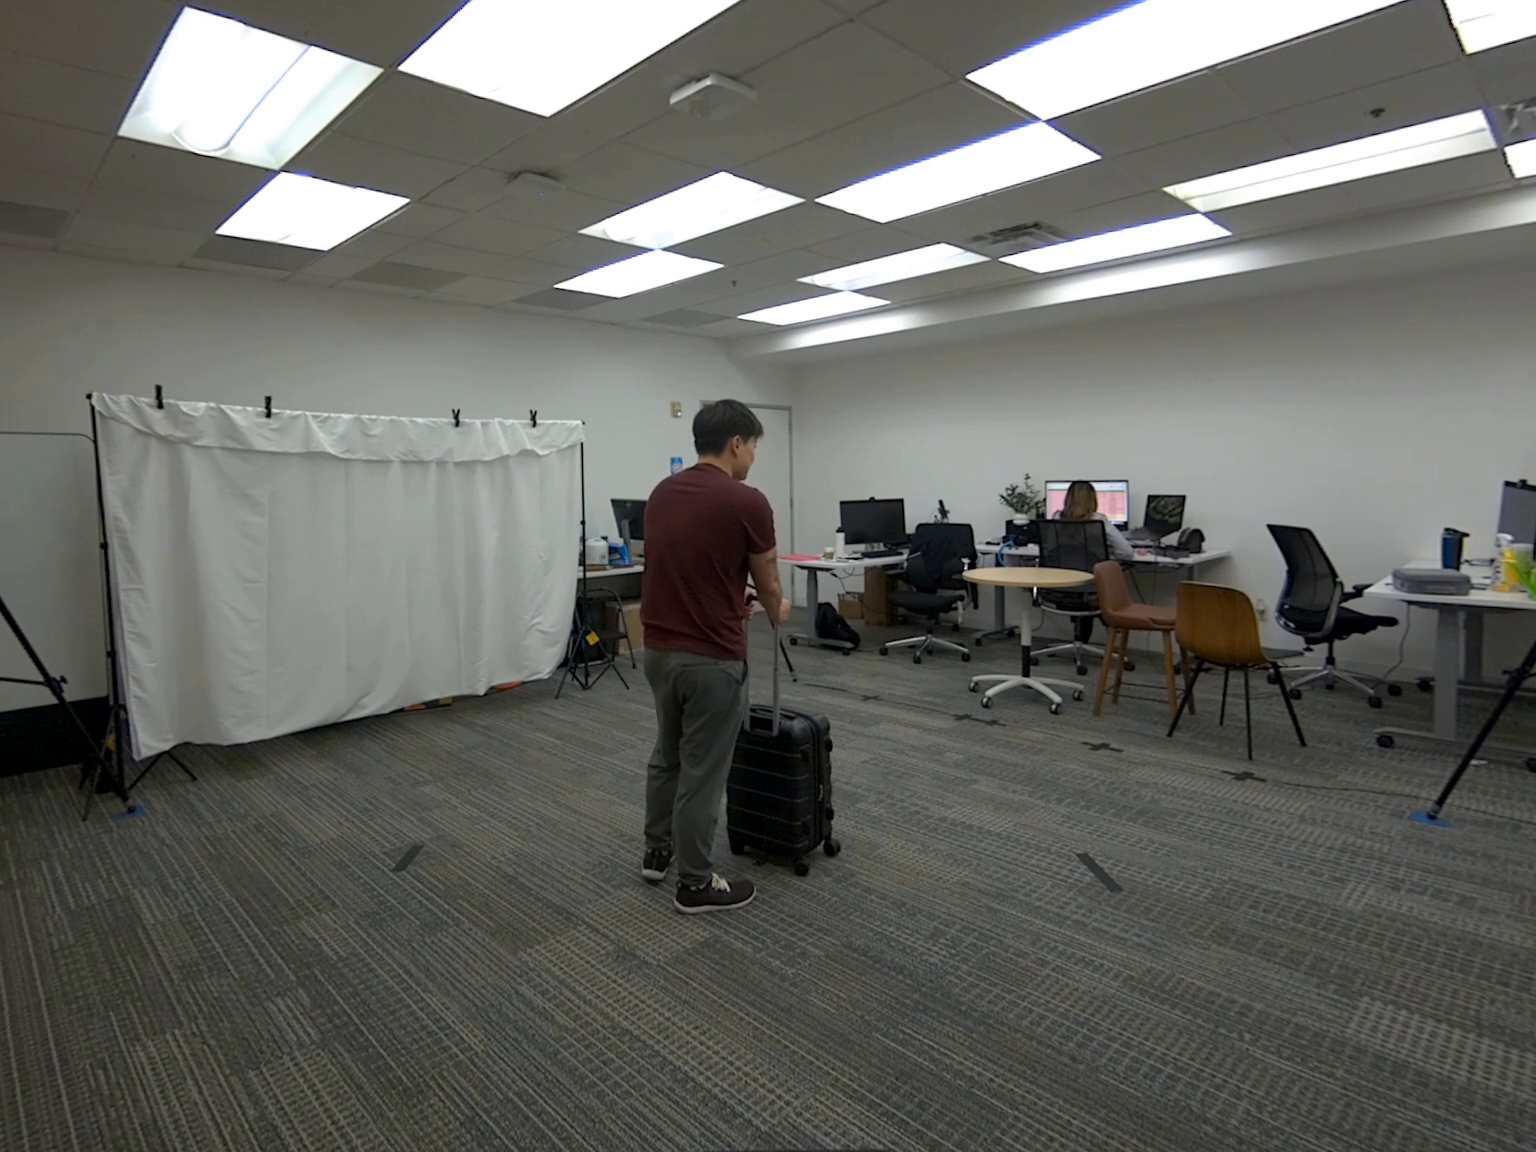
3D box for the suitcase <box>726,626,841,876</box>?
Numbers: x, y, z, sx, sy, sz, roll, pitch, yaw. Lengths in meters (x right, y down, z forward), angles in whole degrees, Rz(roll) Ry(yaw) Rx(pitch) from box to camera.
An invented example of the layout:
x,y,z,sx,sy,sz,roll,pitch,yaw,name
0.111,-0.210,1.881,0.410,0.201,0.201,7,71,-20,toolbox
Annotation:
x,y,z,sx,sy,sz,roll,pitch,yaw,name
0.044,0.561,3.186,0.395,0.978,0.250,0,1,36,suitcase
